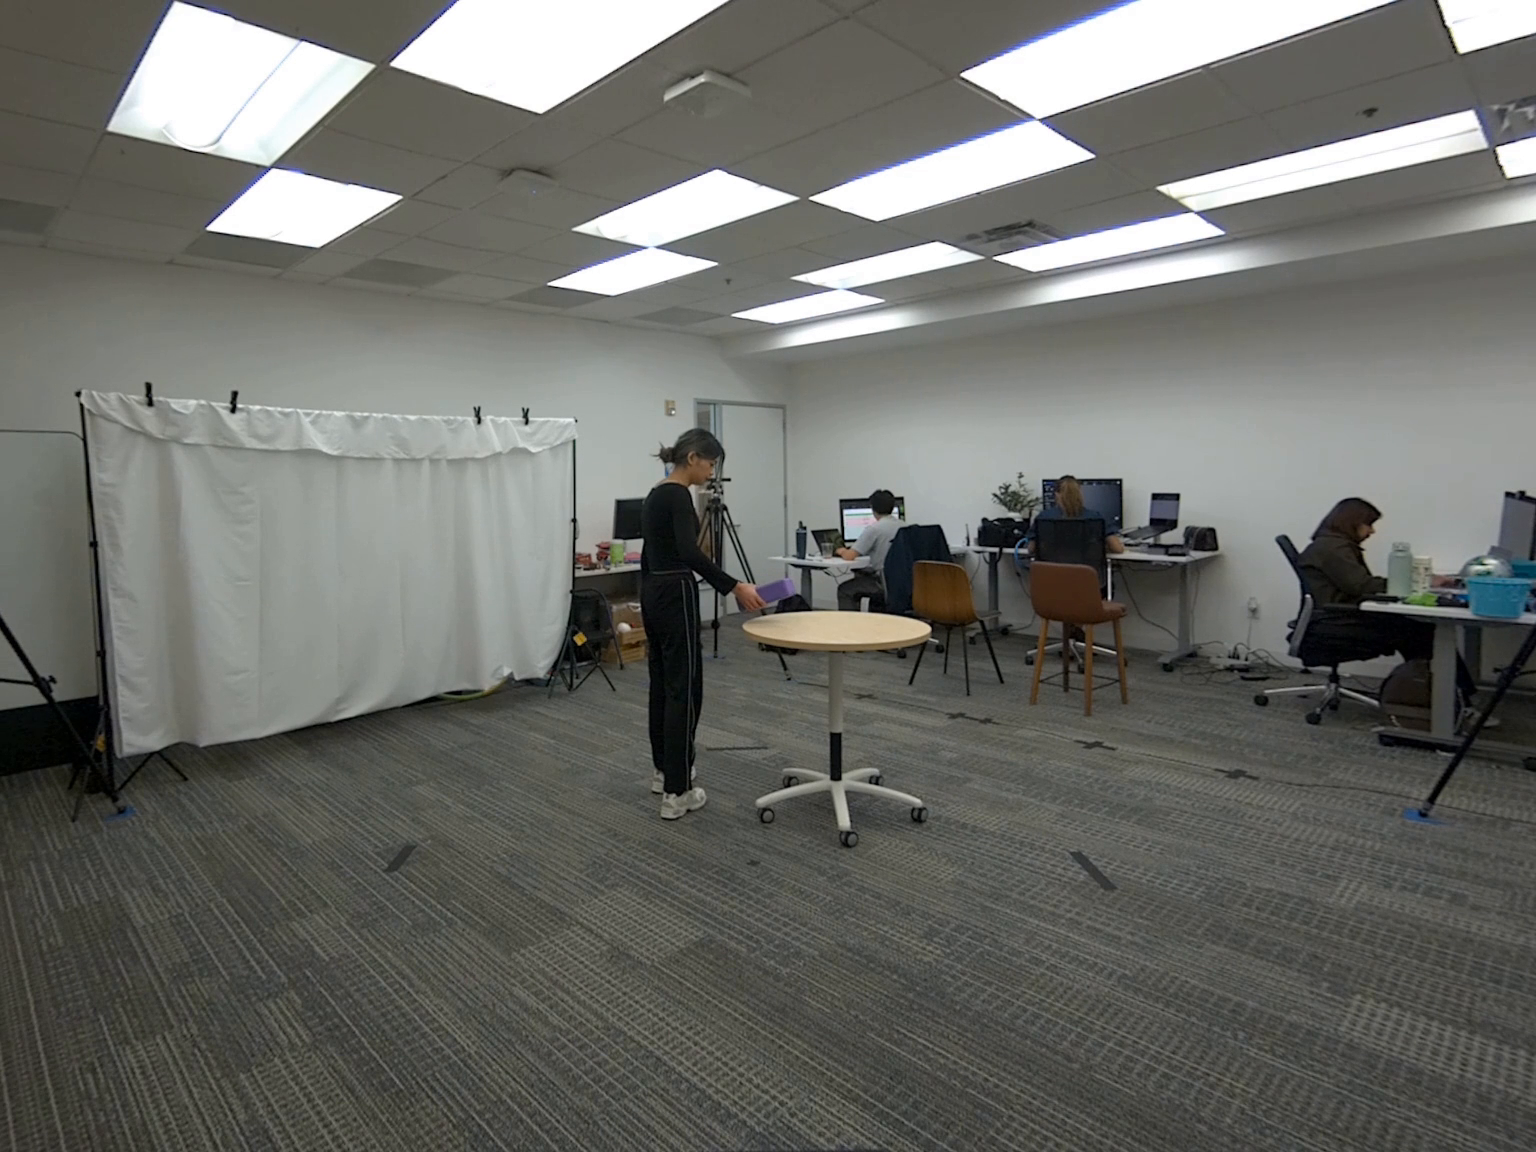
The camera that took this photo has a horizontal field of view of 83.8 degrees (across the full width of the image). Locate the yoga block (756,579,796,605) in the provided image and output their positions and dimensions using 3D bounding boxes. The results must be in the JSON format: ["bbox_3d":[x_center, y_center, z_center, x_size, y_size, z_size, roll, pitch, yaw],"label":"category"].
[{"bbox_3d":[-0.028,0.070,3.617,0.231,0.076,0.148,-13,3,9],"label":"yoga block"}]
